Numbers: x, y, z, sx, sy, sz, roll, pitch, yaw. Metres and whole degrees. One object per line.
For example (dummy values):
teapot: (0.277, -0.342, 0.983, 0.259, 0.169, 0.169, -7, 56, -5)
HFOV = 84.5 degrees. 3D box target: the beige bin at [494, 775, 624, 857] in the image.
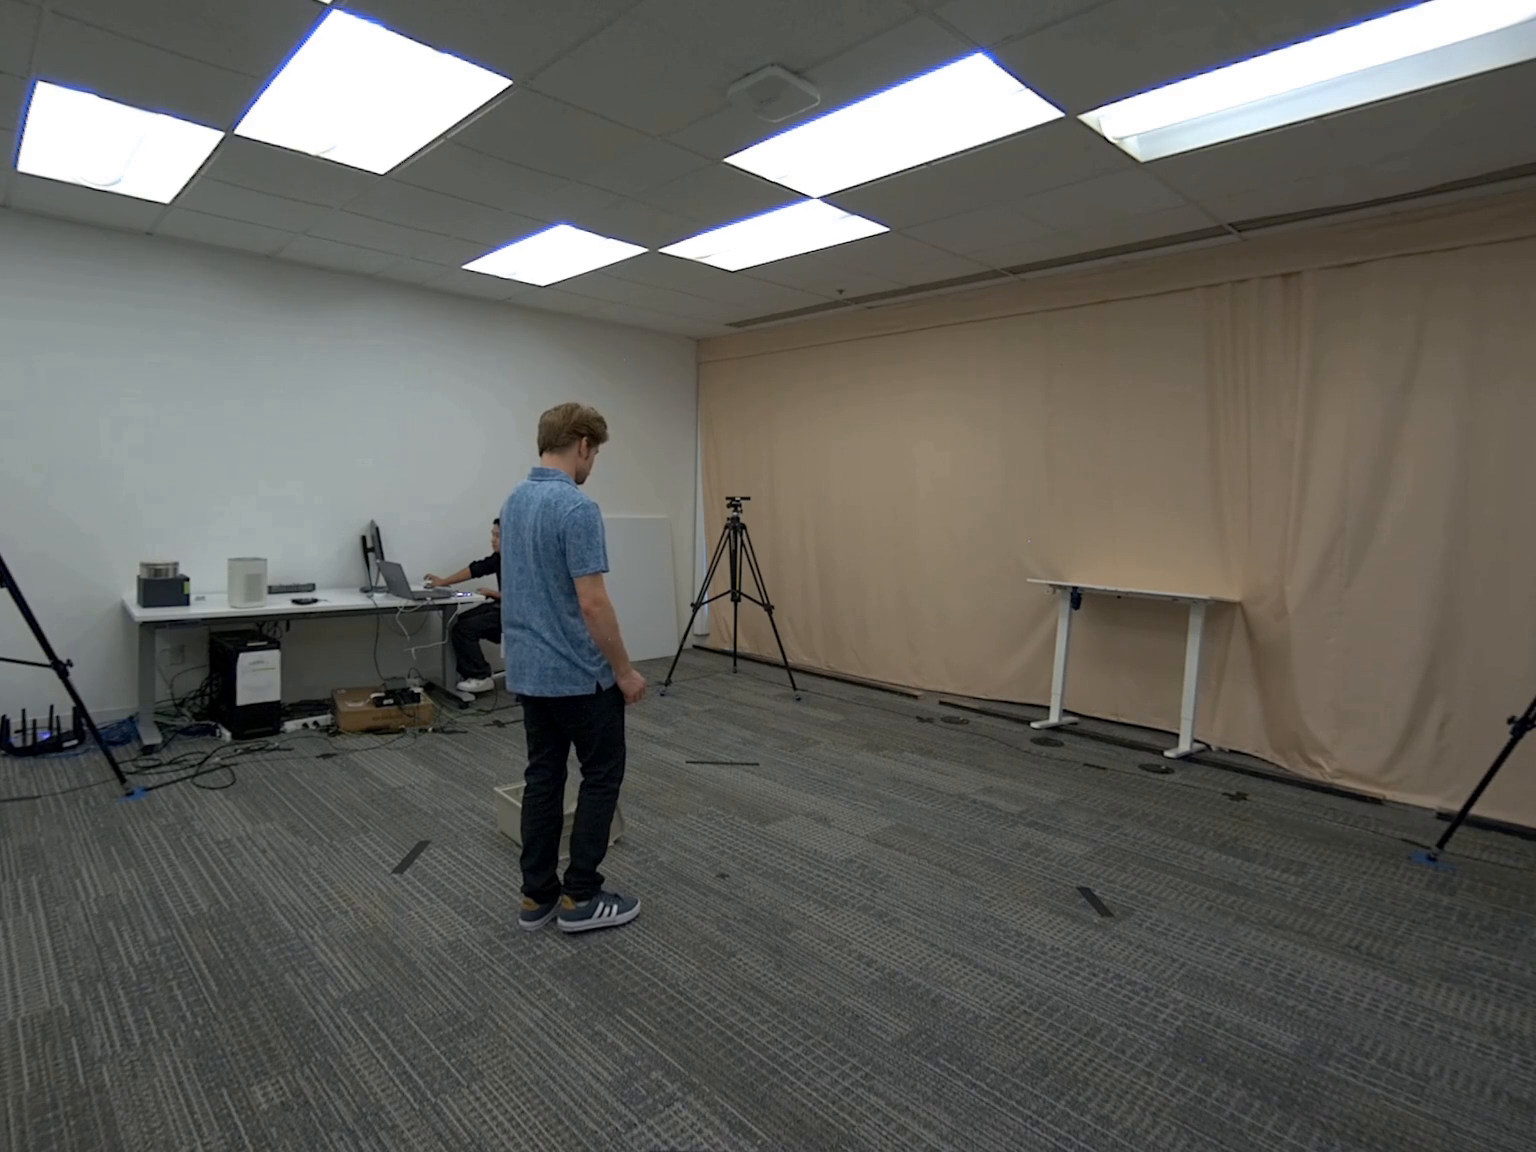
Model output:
beige bin: (-0.856, 0.977, 3.425, 0.369, 0.188, 0.433, -4, 8, -41)
